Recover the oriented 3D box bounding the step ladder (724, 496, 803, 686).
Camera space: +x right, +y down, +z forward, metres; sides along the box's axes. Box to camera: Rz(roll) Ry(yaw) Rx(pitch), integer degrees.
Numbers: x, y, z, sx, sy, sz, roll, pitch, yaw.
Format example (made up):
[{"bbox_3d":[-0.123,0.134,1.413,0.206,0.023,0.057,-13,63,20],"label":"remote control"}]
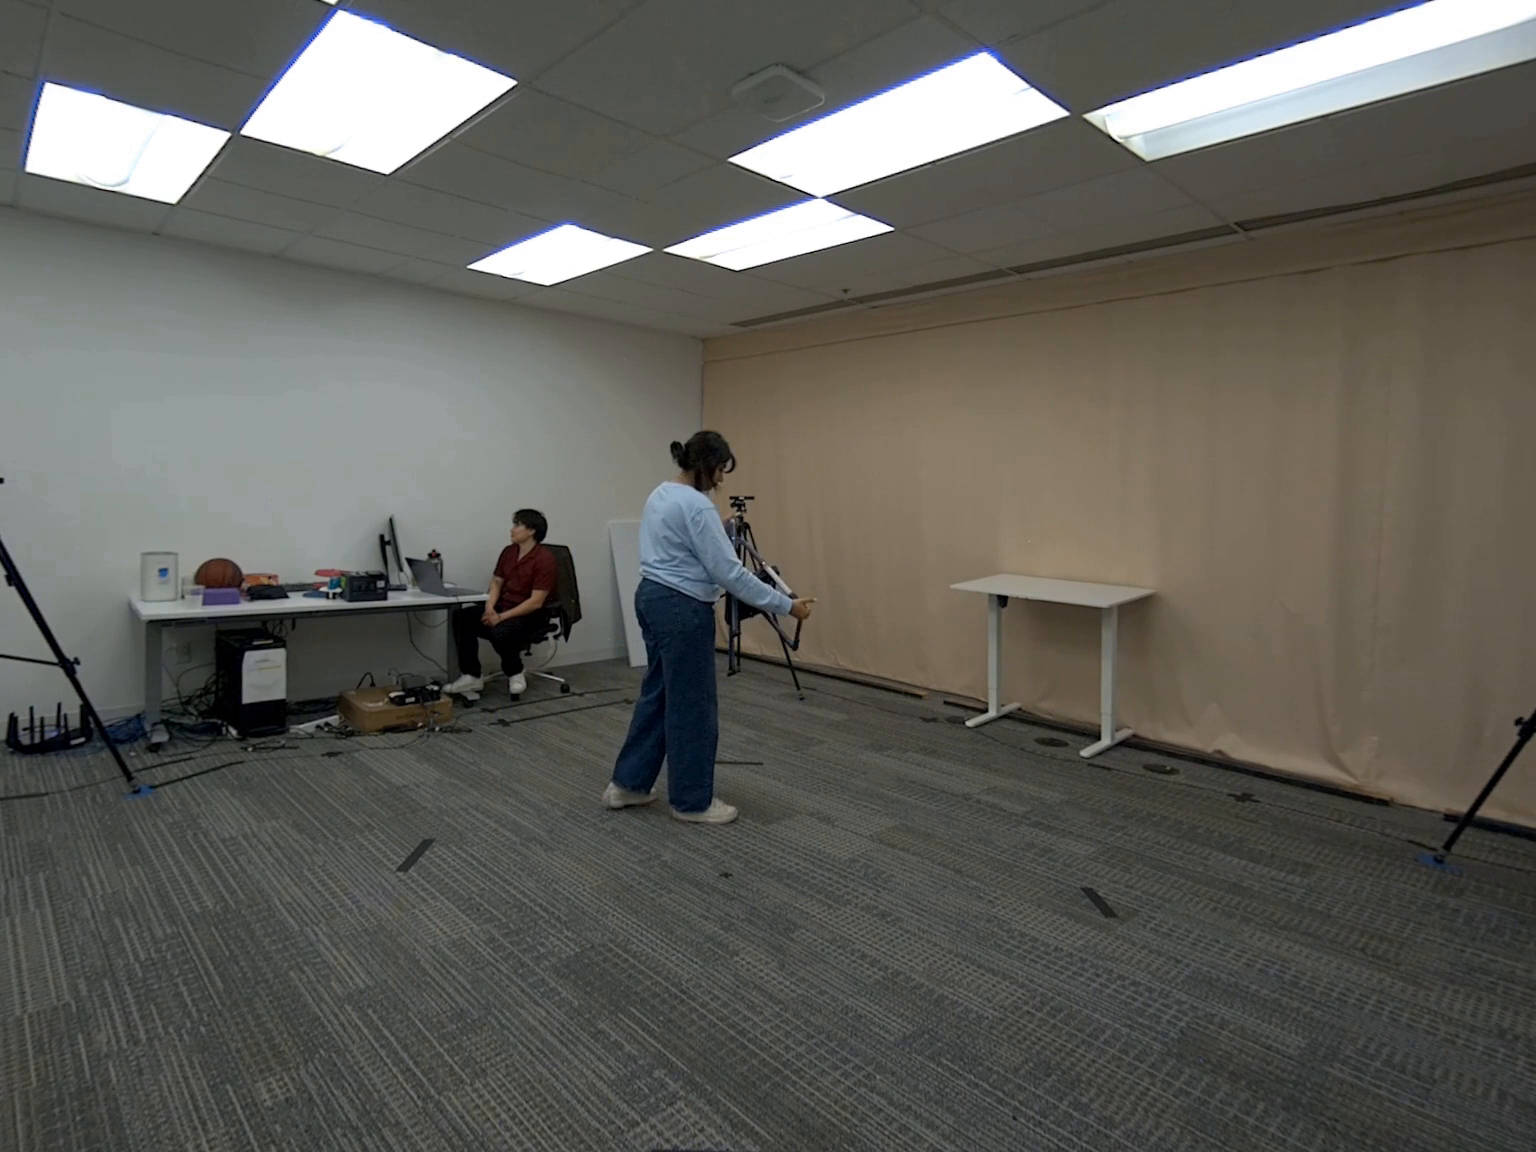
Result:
[{"bbox_3d":[-0.126,0.049,3.803,0.347,0.621,0.423,-17,-29,-13],"label":"step ladder"}]
